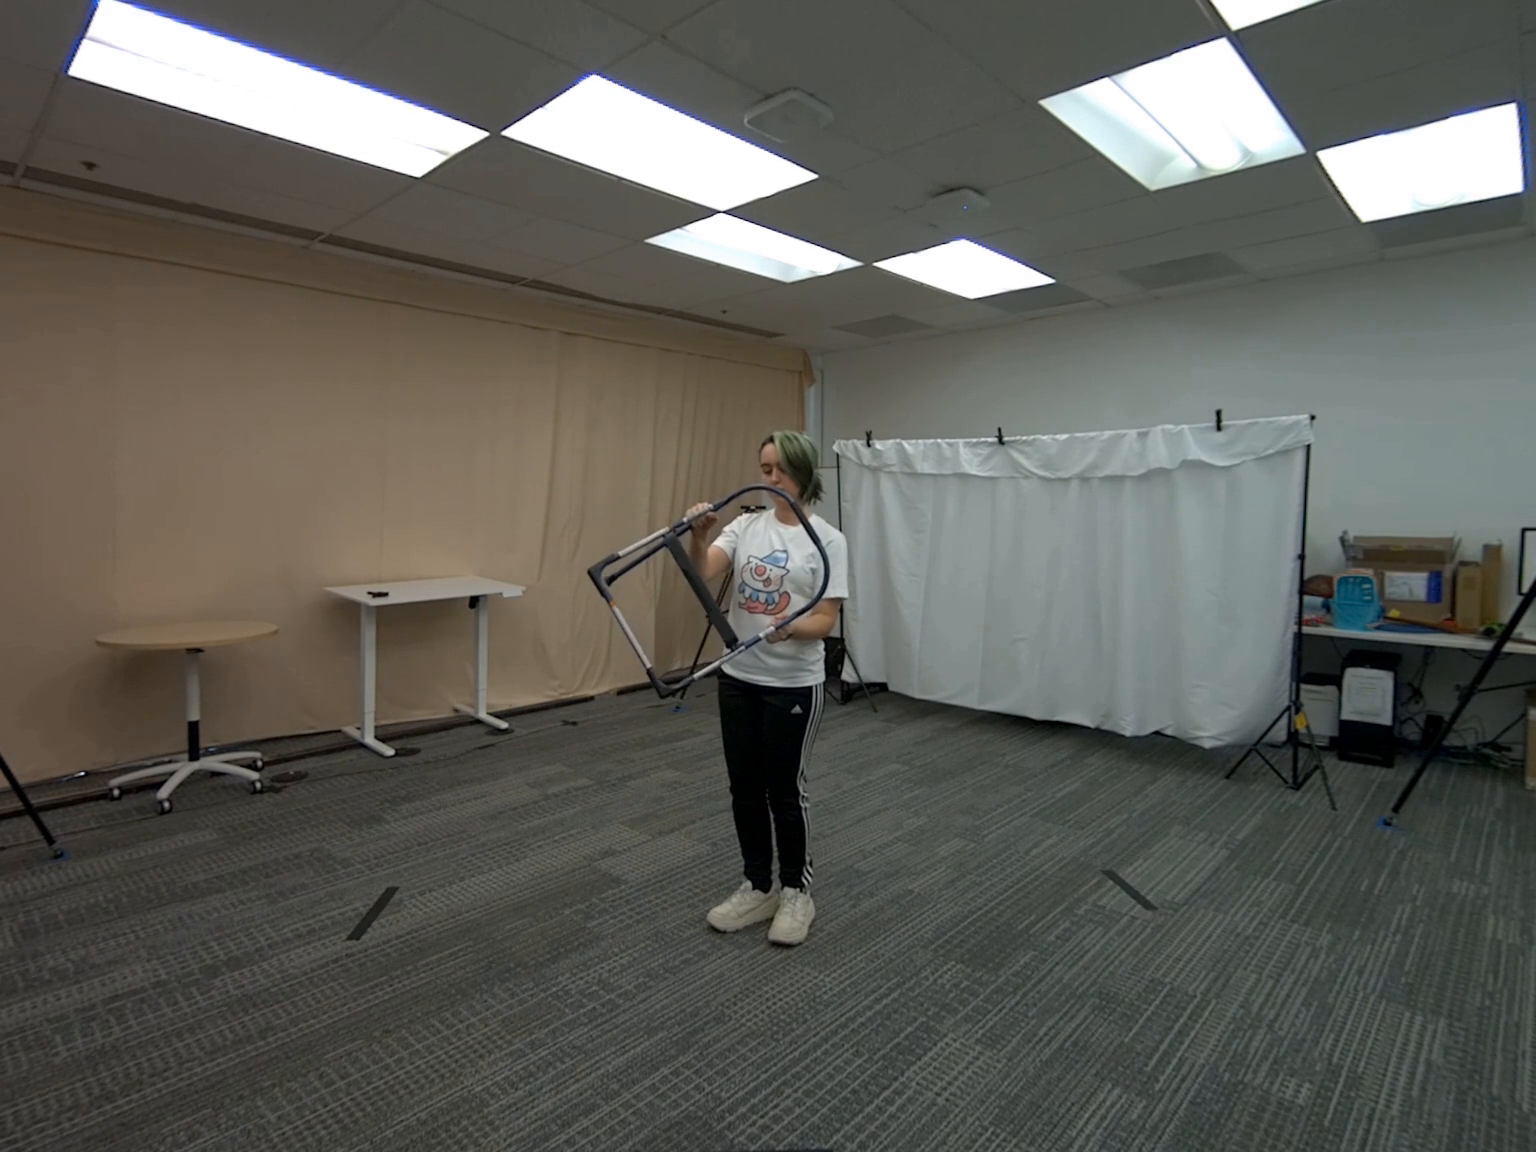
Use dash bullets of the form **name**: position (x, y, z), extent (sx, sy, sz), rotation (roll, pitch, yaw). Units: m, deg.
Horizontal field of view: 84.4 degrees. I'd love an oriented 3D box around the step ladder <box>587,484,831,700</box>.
- **step ladder**: position (-0.143, 0.022, 2.454), extent (0.605, 0.434, 0.347), rotation (-30, -6, -1)
